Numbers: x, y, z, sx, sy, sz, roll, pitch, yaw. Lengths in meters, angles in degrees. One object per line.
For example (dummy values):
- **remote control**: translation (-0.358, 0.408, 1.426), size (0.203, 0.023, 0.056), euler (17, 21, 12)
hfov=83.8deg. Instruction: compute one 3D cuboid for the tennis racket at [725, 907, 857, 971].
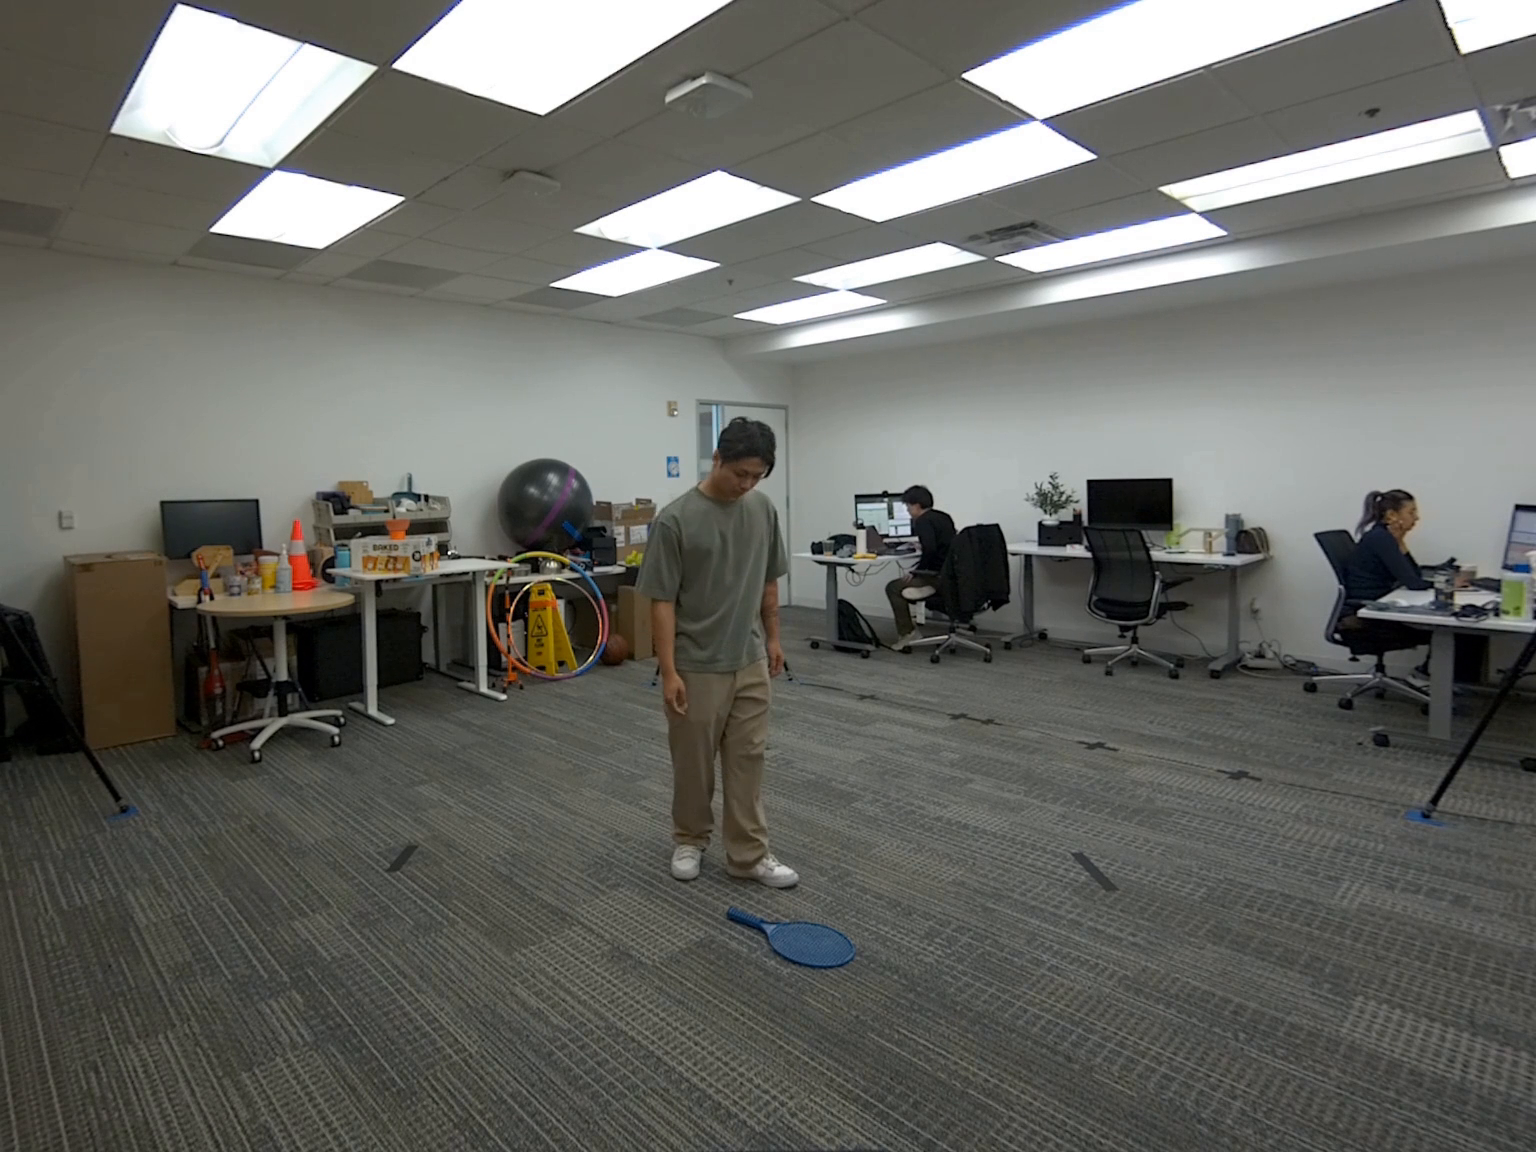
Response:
- **tennis racket**: translation (0.062, 1.086, 2.598), size (0.445, 0.031, 0.209), euler (5, 8, 34)
